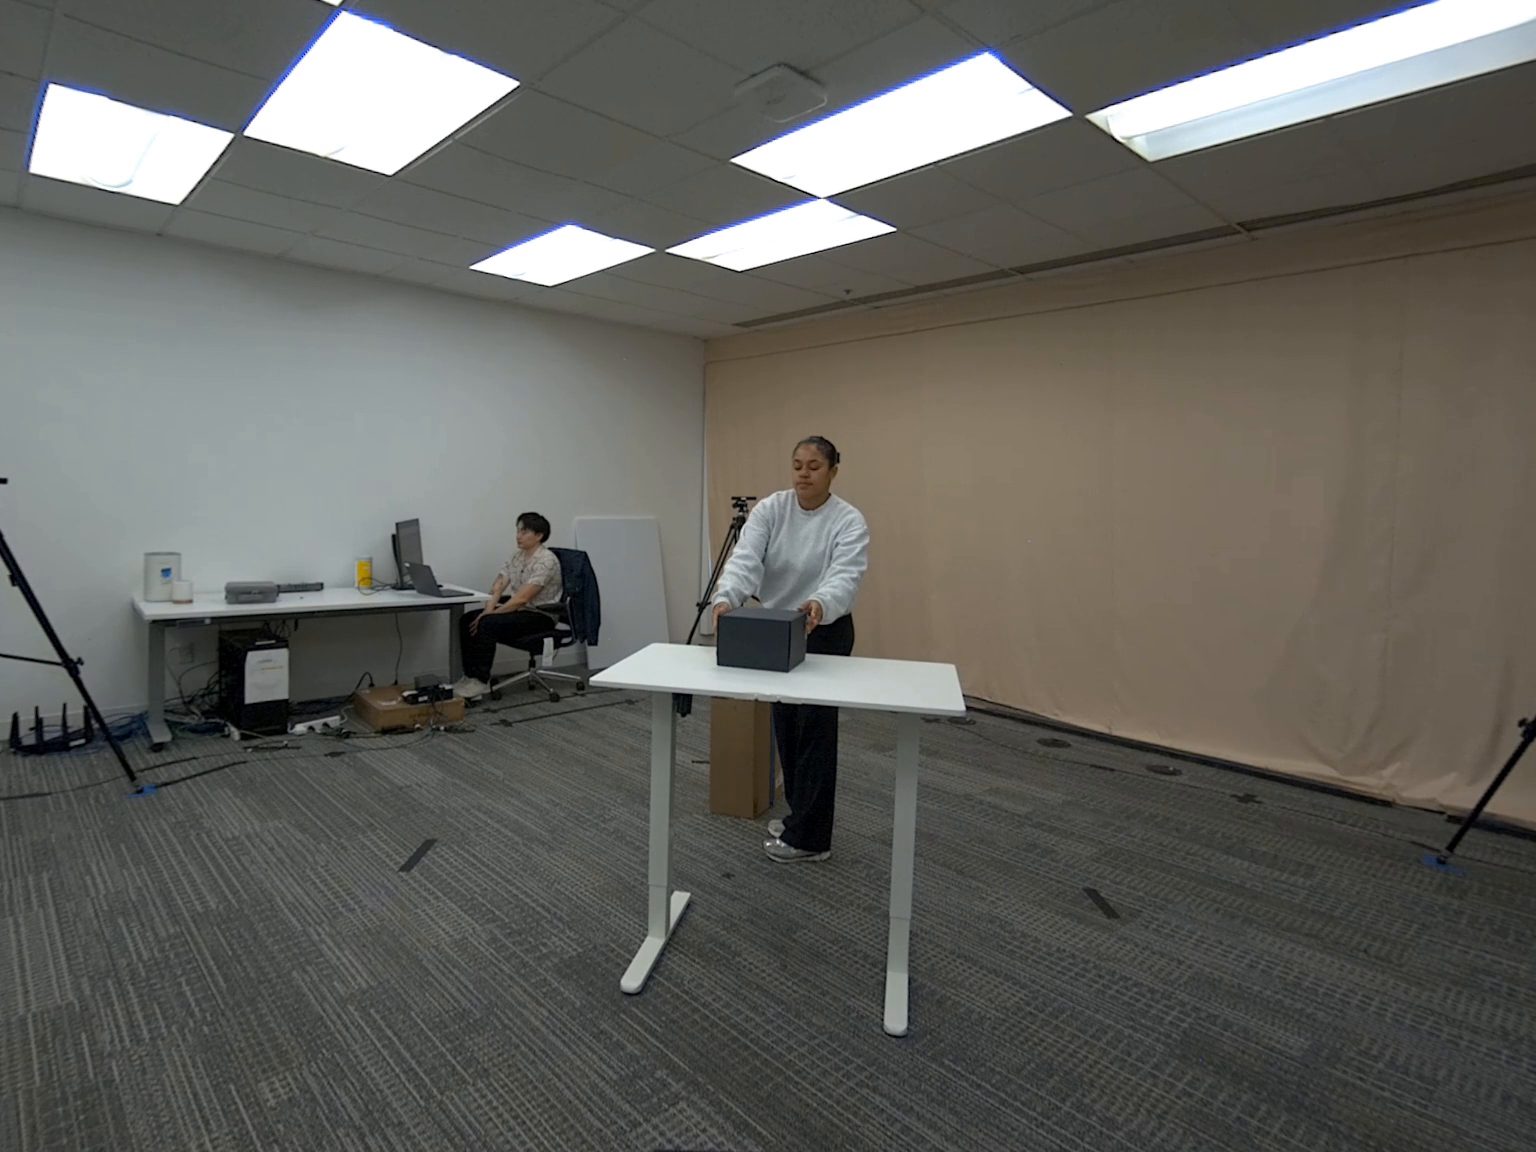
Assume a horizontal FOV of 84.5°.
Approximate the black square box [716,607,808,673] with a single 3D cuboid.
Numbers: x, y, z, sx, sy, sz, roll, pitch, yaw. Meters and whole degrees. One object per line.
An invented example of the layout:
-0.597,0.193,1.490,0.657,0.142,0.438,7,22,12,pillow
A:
-0.022,0.194,2.607,0.231,0.155,0.215,4,5,15,black square box
